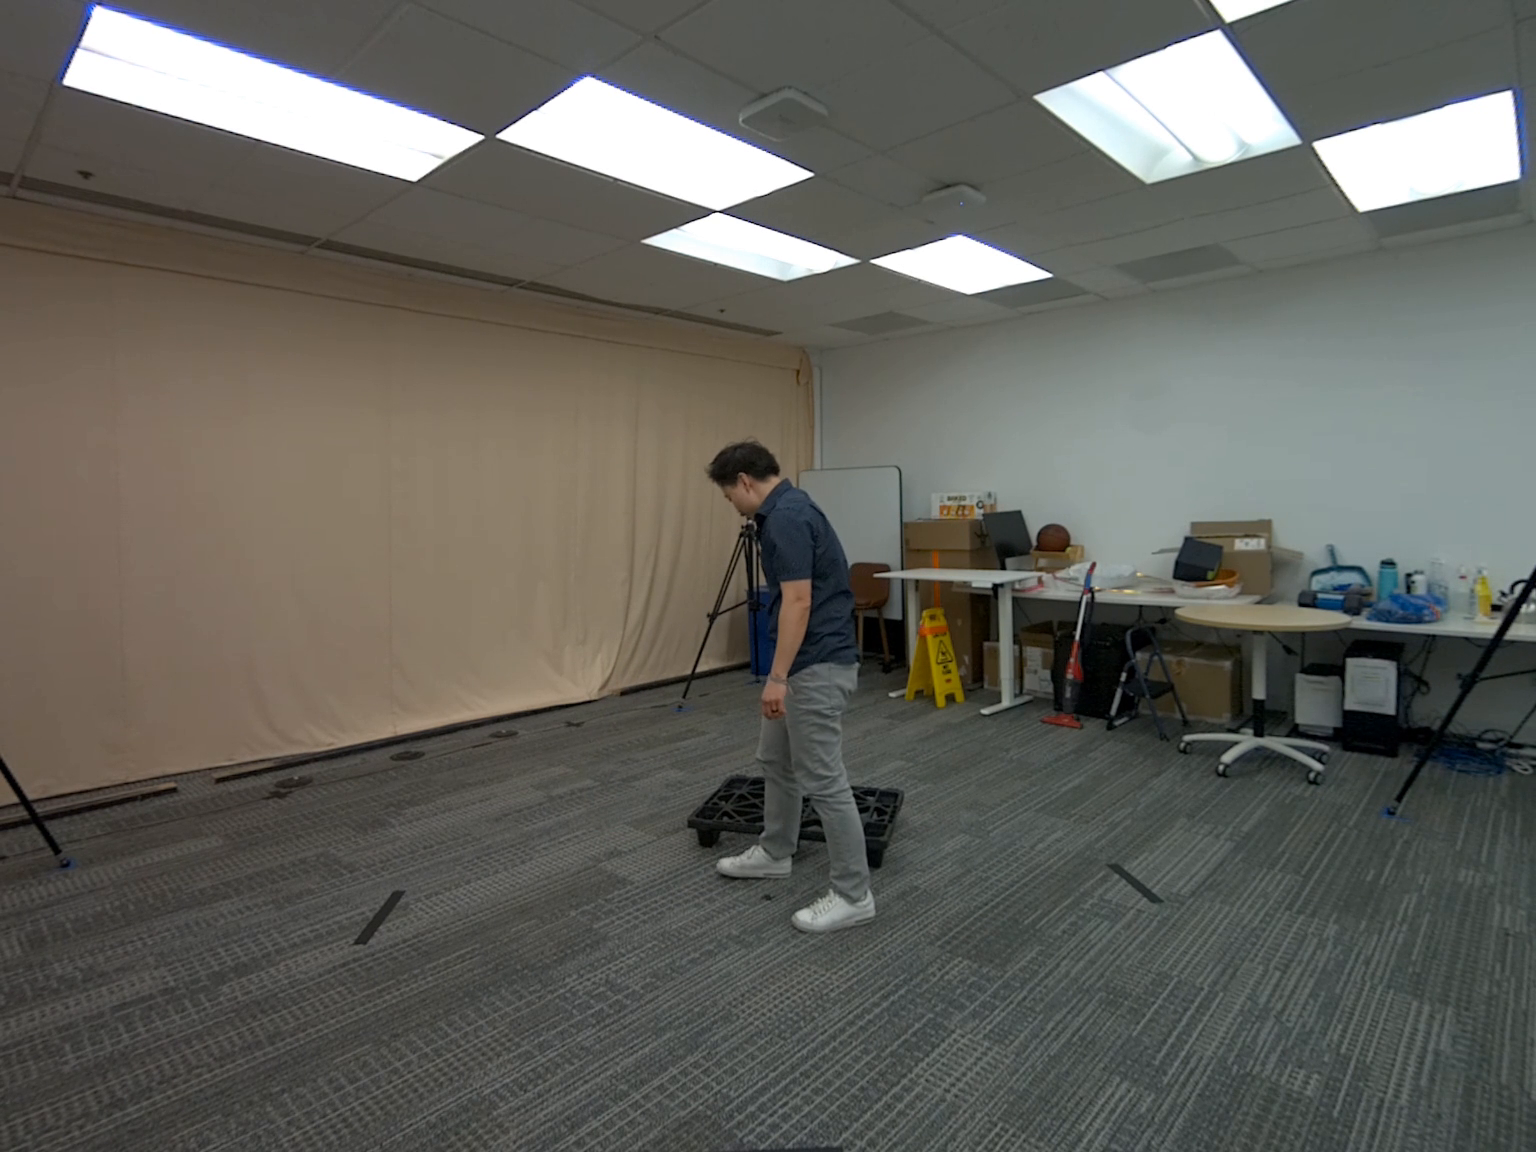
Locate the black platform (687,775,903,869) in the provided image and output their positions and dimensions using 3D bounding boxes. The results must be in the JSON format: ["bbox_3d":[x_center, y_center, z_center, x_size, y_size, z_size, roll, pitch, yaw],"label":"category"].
[{"bbox_3d":[0.140,1.021,3.530,0.821,0.143,0.595,0,5,17],"label":"black platform"}]
